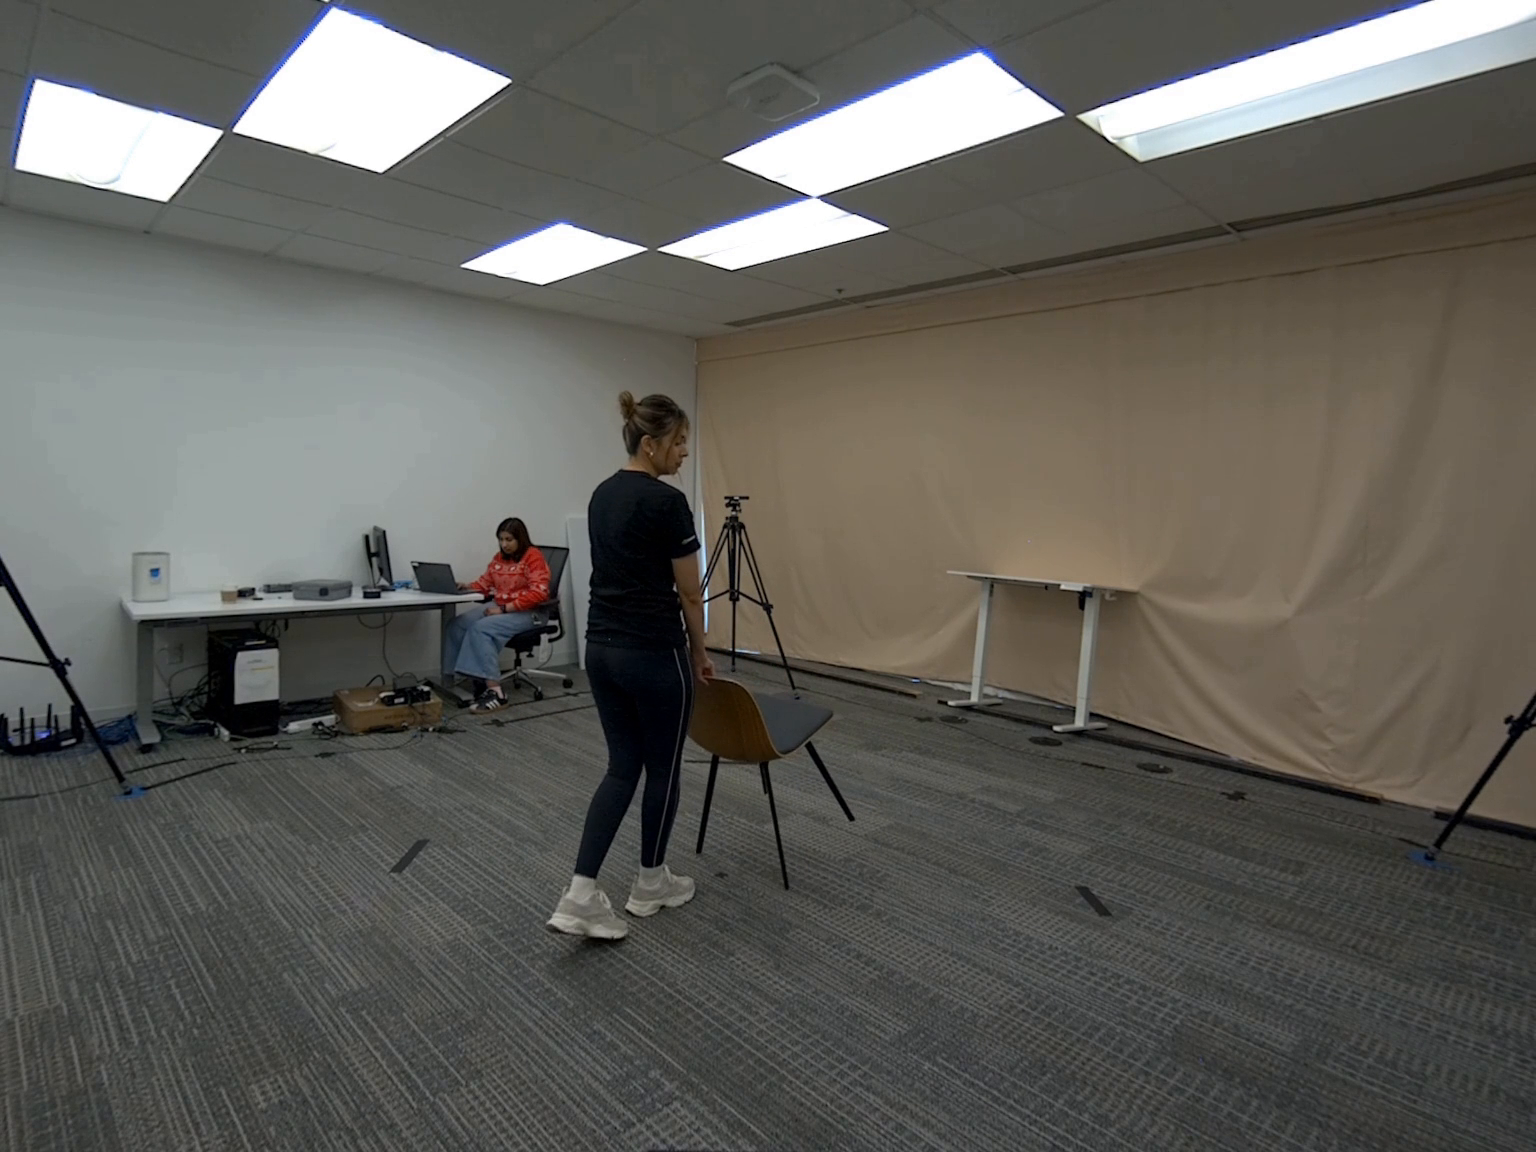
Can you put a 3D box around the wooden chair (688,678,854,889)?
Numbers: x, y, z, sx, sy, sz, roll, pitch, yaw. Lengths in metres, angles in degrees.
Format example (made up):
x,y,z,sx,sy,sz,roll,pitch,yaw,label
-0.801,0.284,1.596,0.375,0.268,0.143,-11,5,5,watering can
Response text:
x,y,z,sx,sy,sz,roll,pitch,yaw,label
-0.038,0.621,3.183,0.490,0.863,0.519,4,26,41,wooden chair
